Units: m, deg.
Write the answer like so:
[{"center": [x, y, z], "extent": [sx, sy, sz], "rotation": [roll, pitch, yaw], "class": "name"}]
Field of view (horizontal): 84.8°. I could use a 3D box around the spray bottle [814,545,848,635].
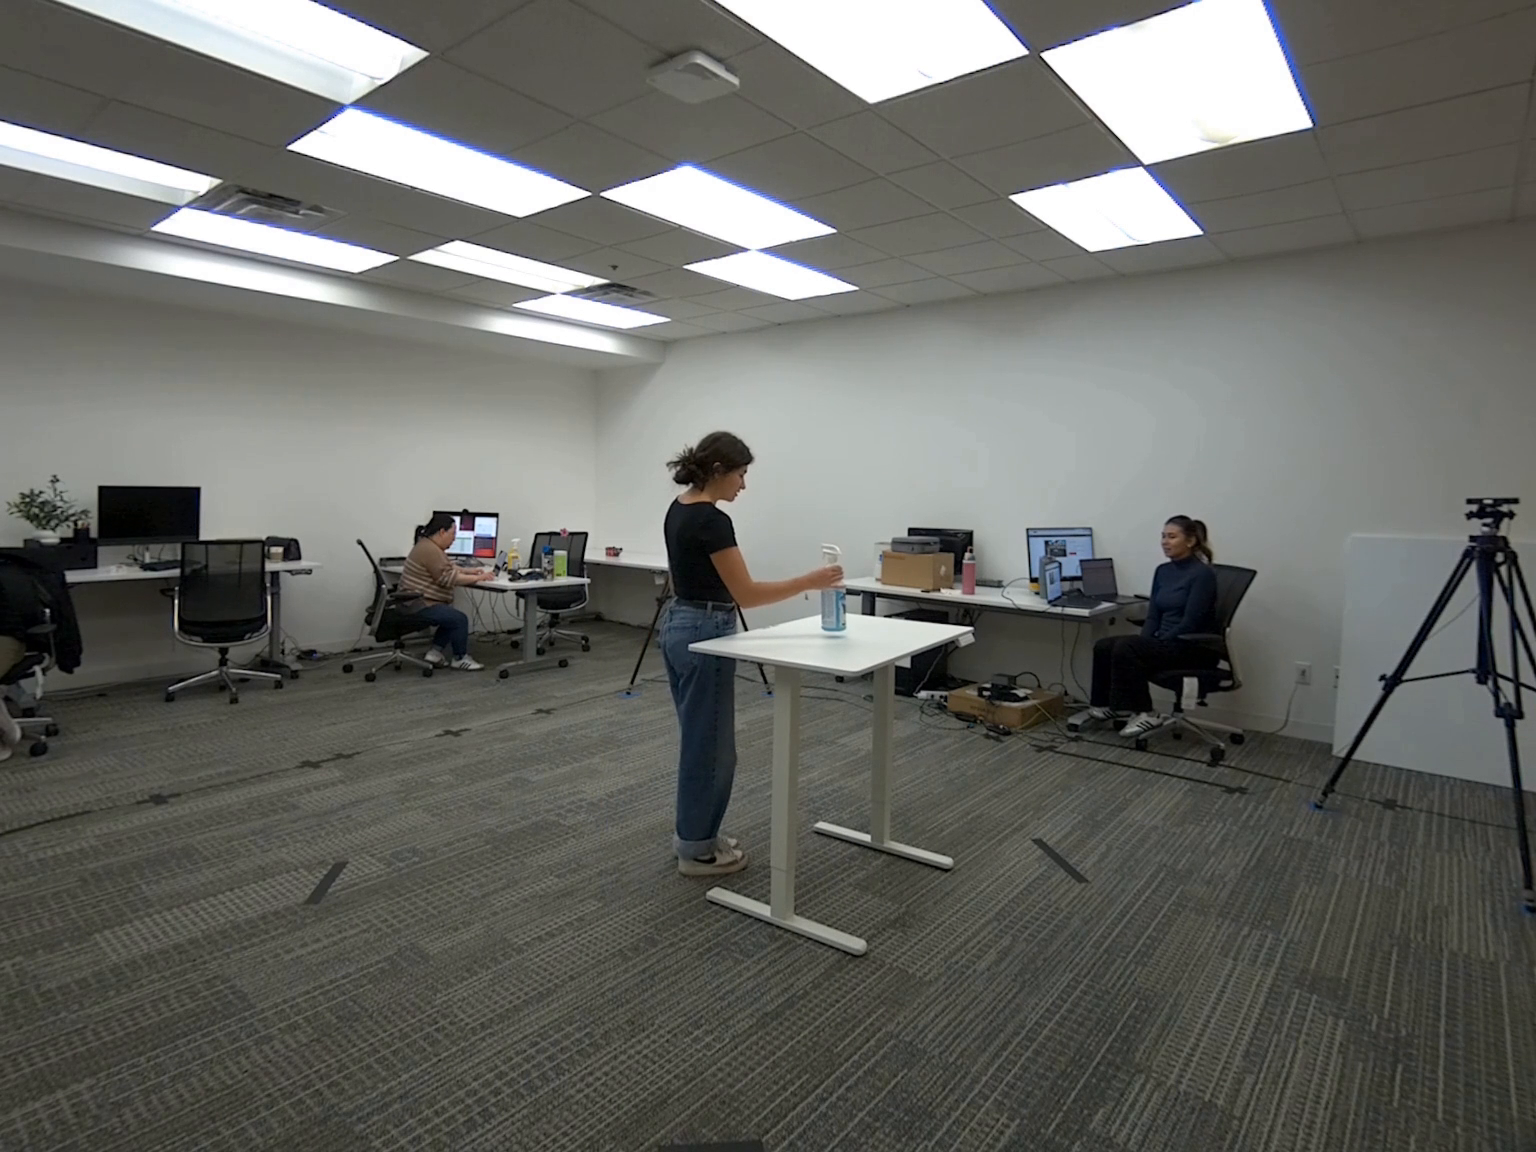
[{"center": [0.218, 0.045, 2.924], "extent": [0.086, 0.296, 0.091], "rotation": [-2, 4, -10], "class": "spray bottle"}]
